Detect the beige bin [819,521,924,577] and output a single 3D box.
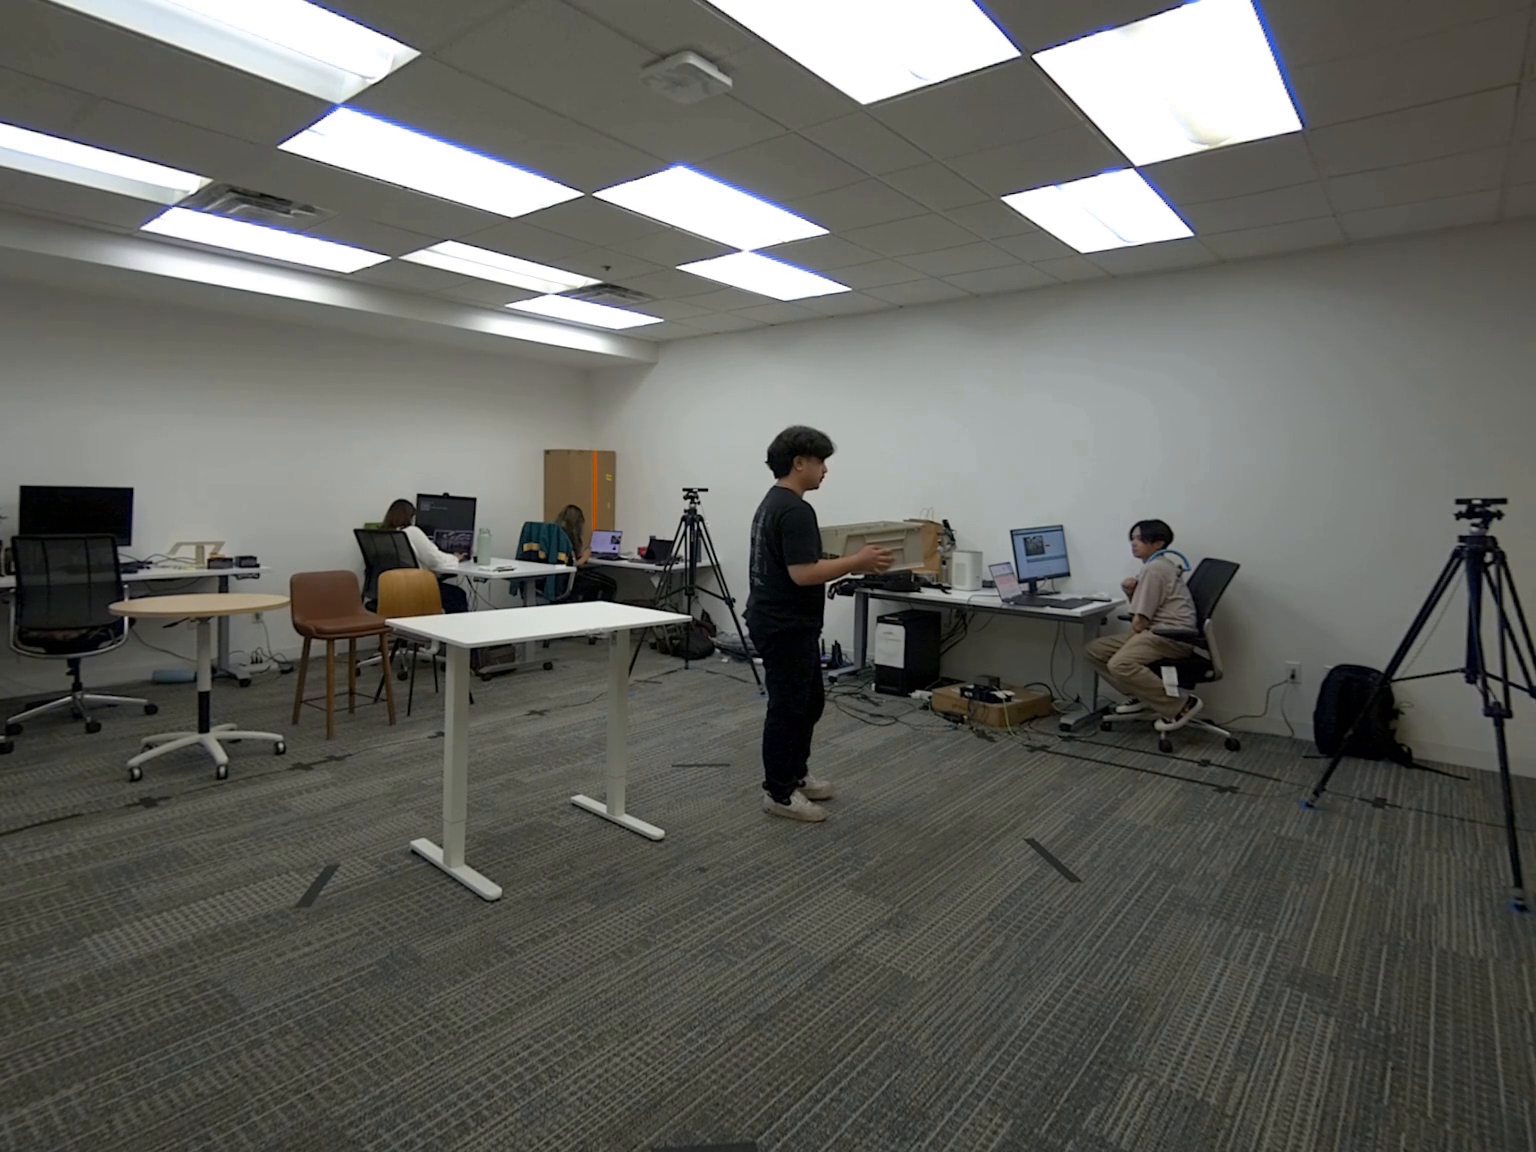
[{"bbox_3d":[0.408,-0.125,3.685,0.373,0.188,0.428,-5,6,-11],"label":"beige bin"}]
